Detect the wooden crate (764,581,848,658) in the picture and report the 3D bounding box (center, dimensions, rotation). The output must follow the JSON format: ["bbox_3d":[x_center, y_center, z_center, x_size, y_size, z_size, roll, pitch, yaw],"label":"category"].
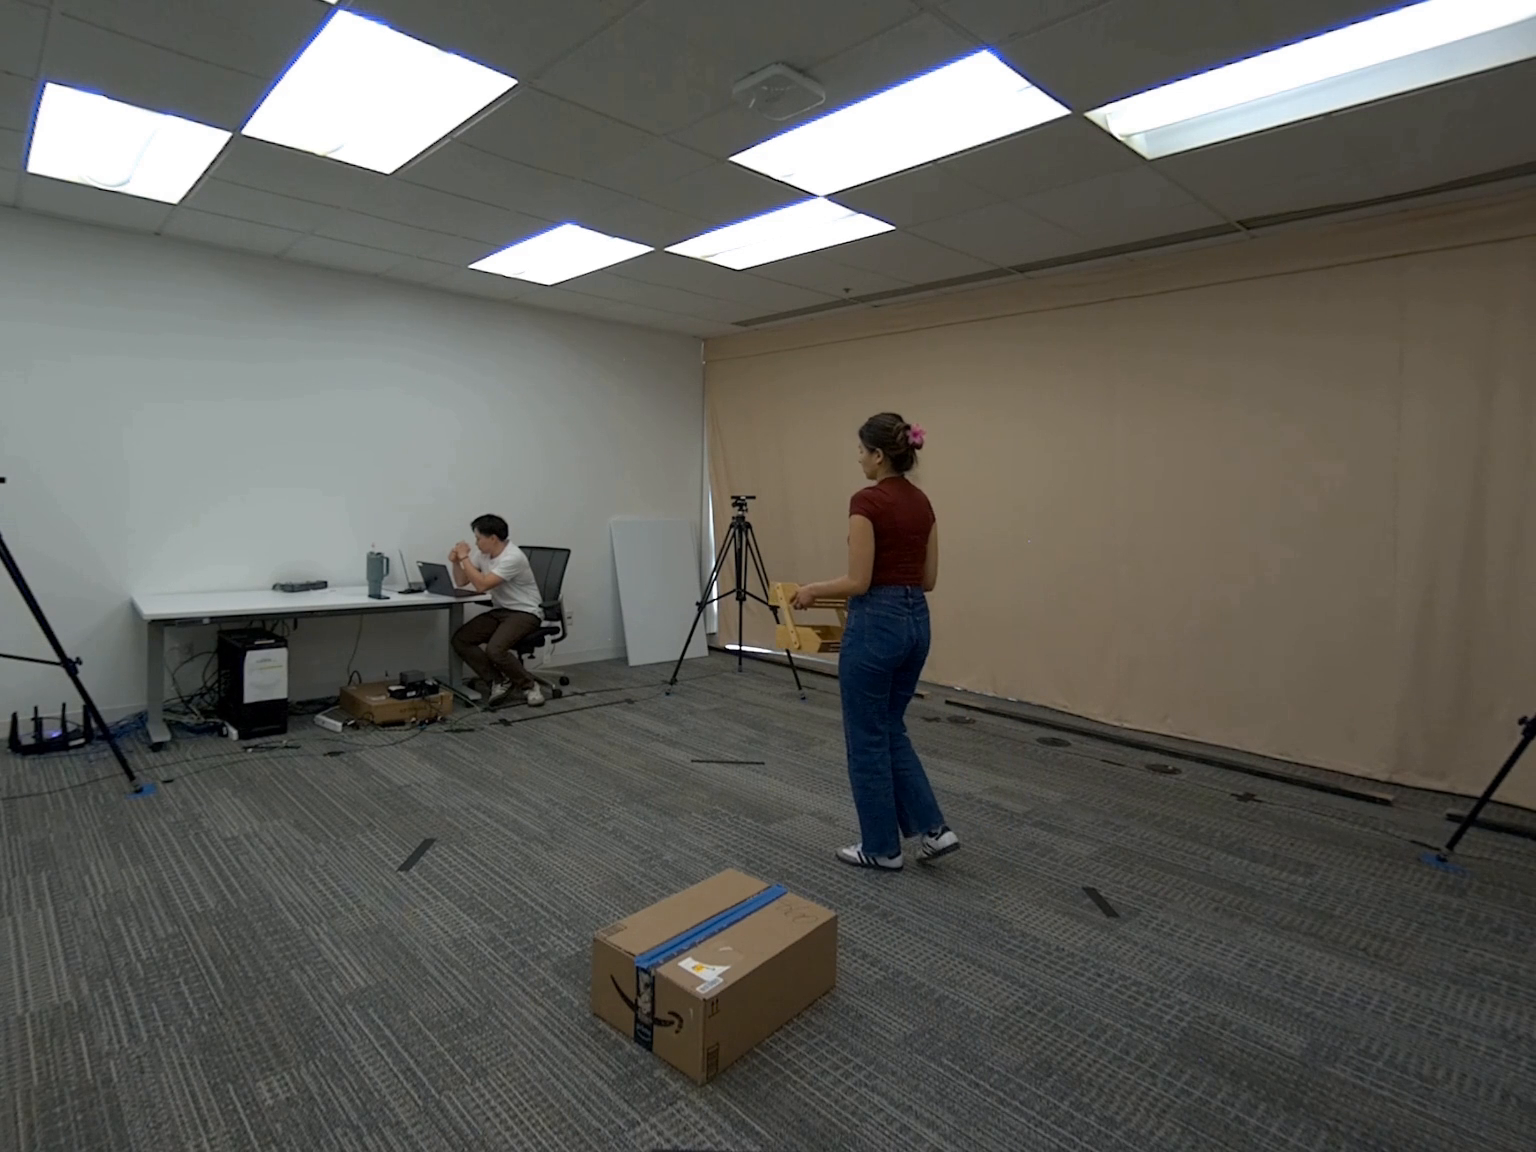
[{"bbox_3d":[0.214,0.169,3.382,0.316,0.274,0.309,5,-2,-42],"label":"wooden crate"}]
